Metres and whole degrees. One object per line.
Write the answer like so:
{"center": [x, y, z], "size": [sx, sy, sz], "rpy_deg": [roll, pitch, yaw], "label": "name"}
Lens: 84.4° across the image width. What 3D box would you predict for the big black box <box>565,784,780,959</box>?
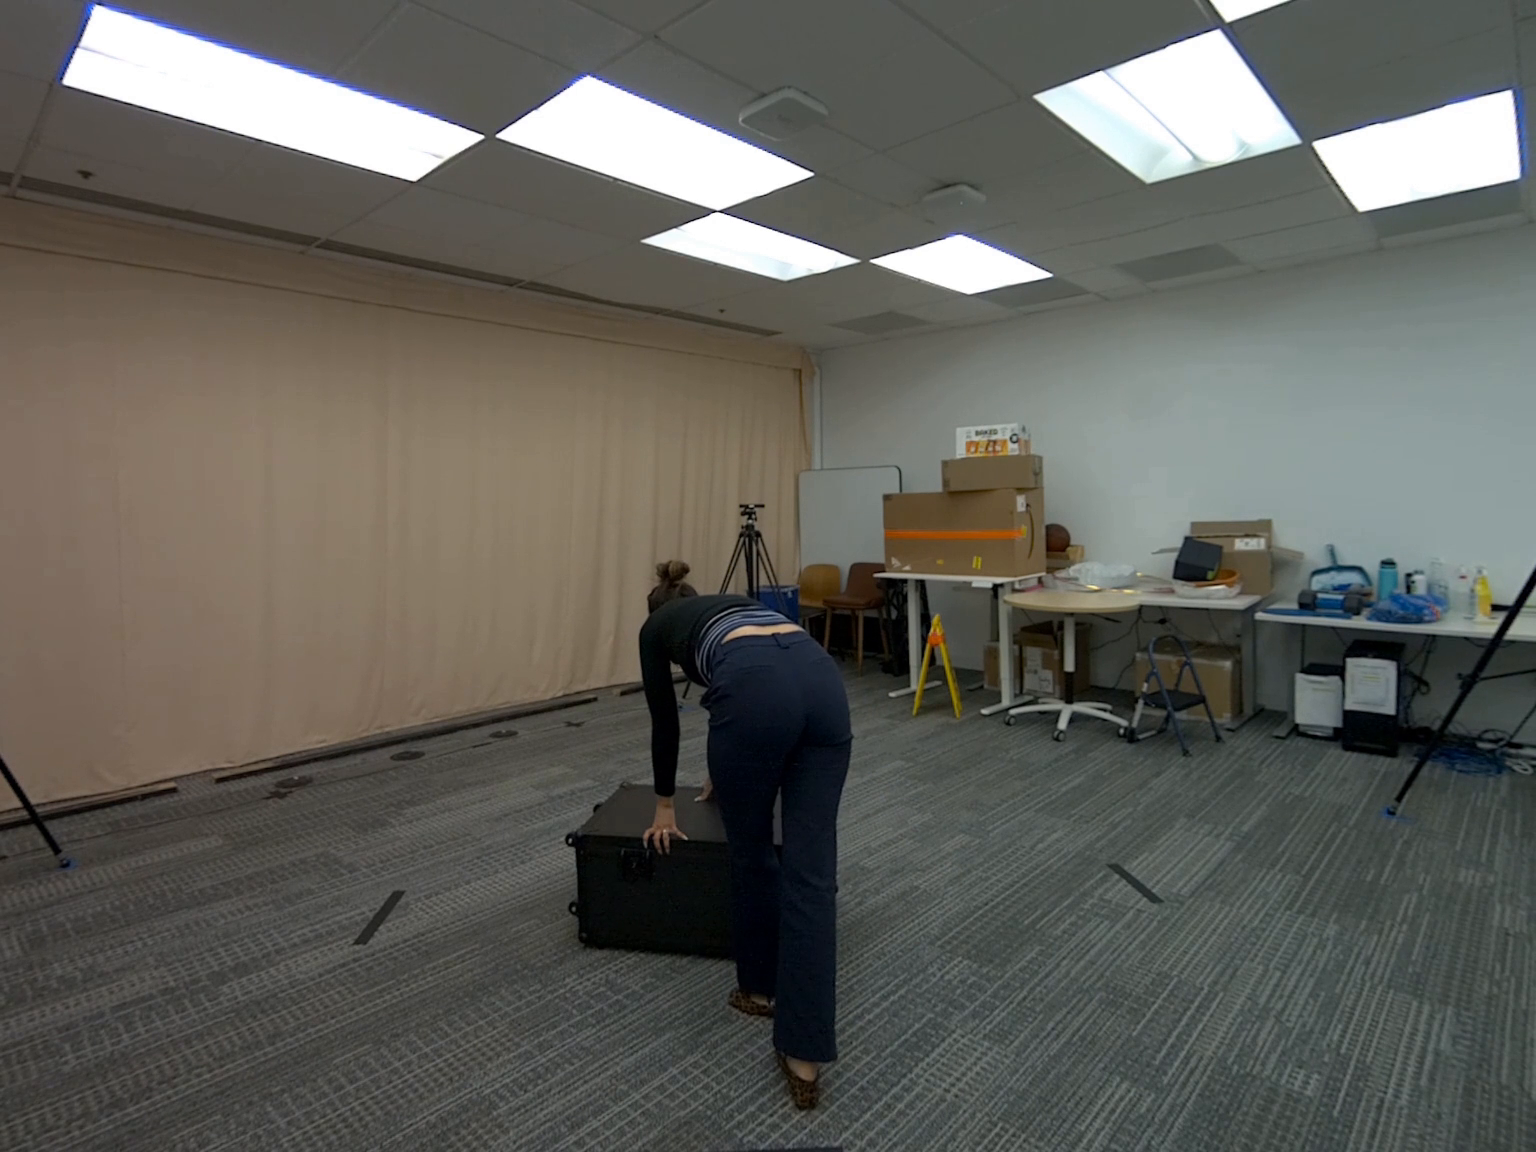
{"center": [-0.214, 0.967, 2.815], "size": [0.872, 0.395, 0.516], "rpy_deg": [0, 4, 11], "label": "big black box"}
